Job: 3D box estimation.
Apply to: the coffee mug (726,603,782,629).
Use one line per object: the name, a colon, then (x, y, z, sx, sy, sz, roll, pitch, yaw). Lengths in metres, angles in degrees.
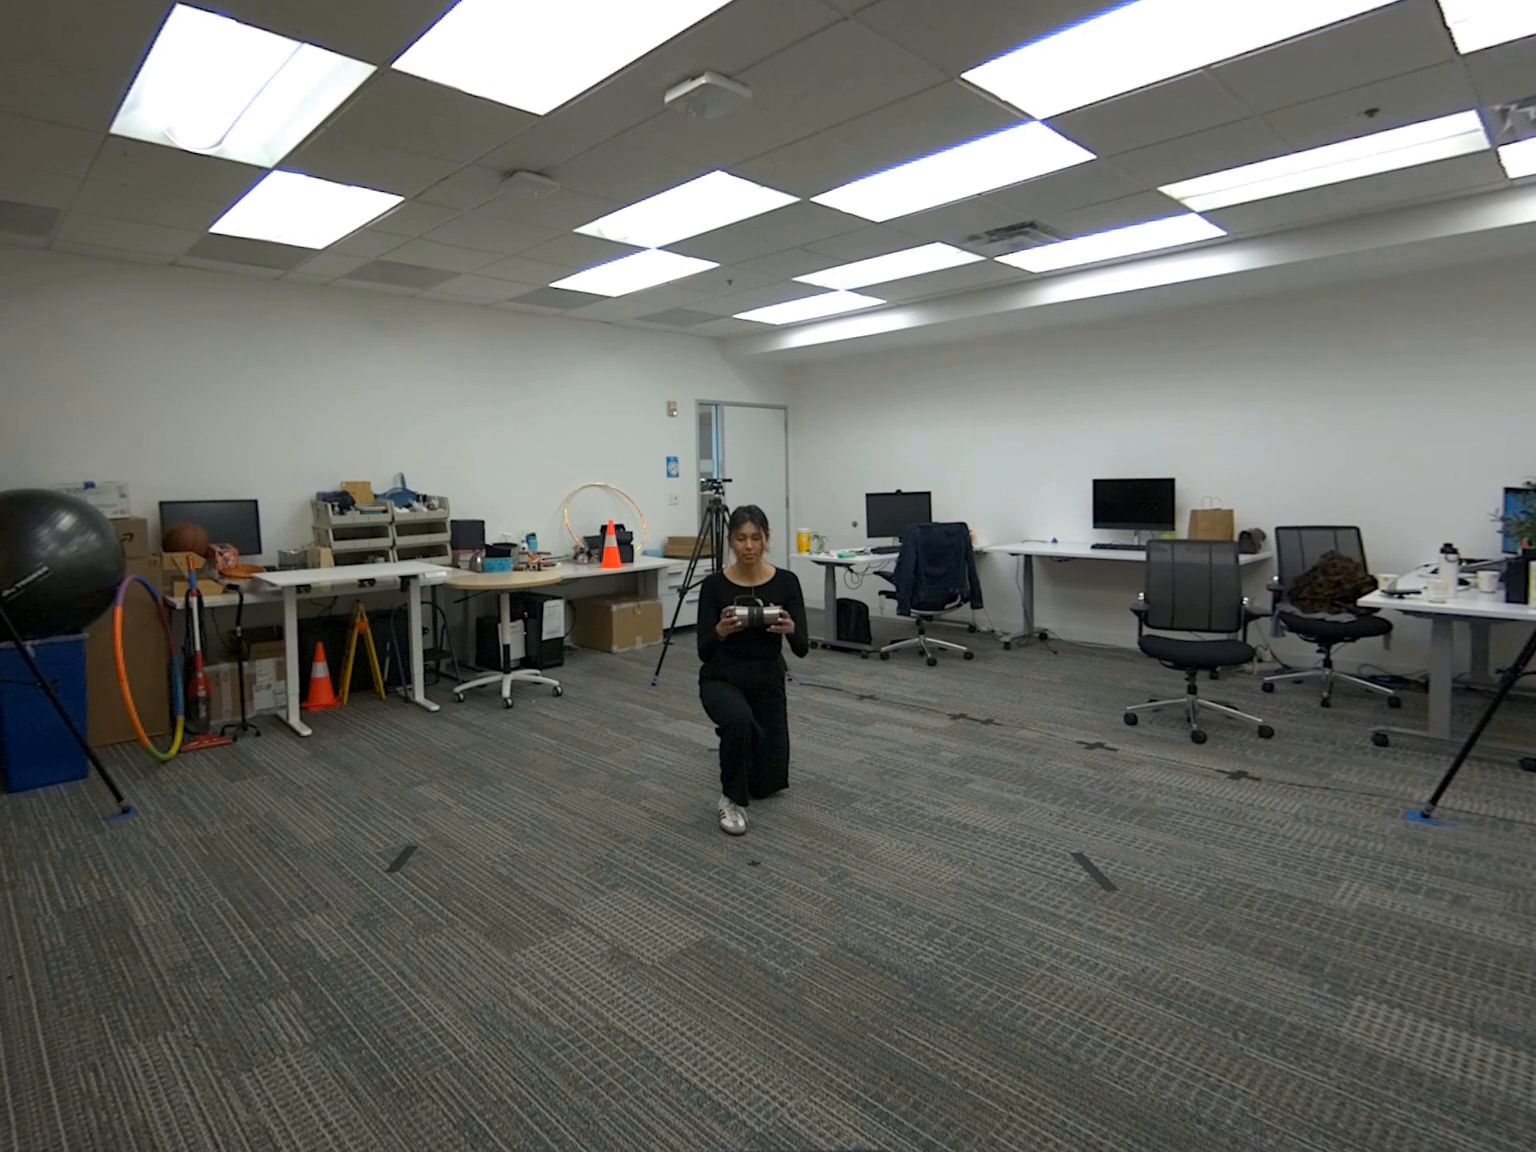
coffee mug: (-0.074, 0.146, 3.267, 0.204, 0.120, 0.089, -2, 19, 4)
